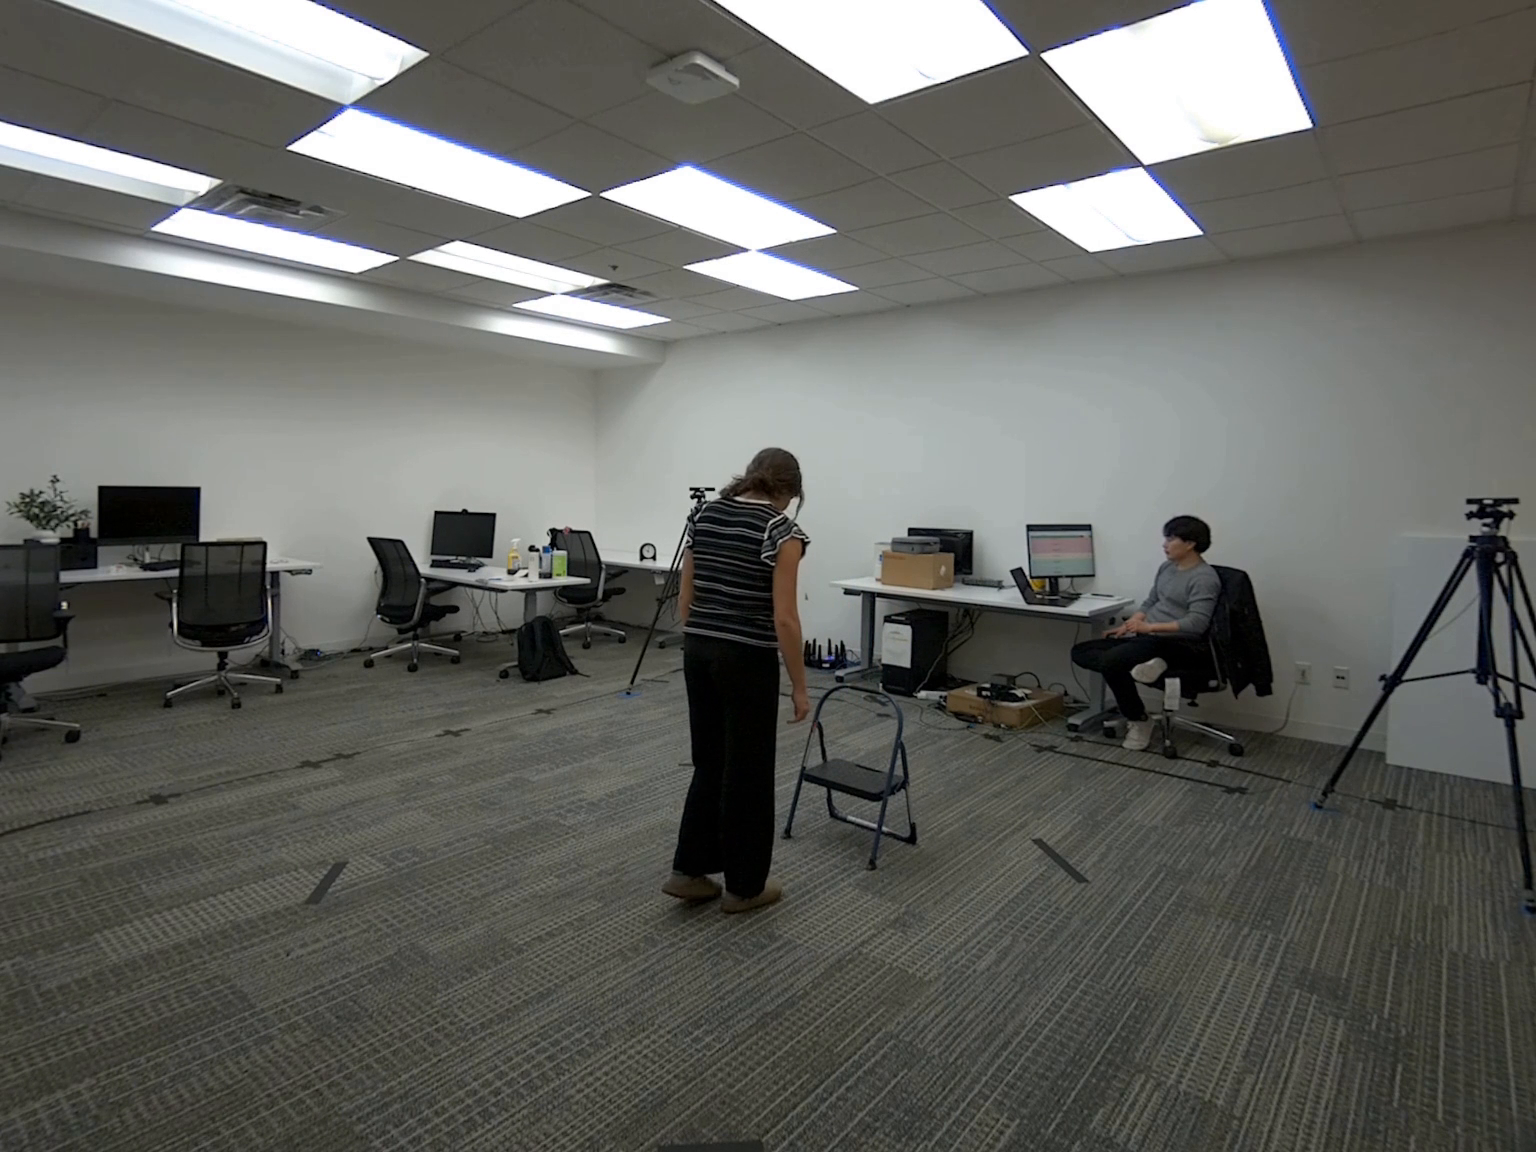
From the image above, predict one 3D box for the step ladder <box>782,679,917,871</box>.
[{"bbox_3d":[0.327,0.751,3.377,0.445,0.604,0.339,5,5,40],"label":"step ladder"}]
